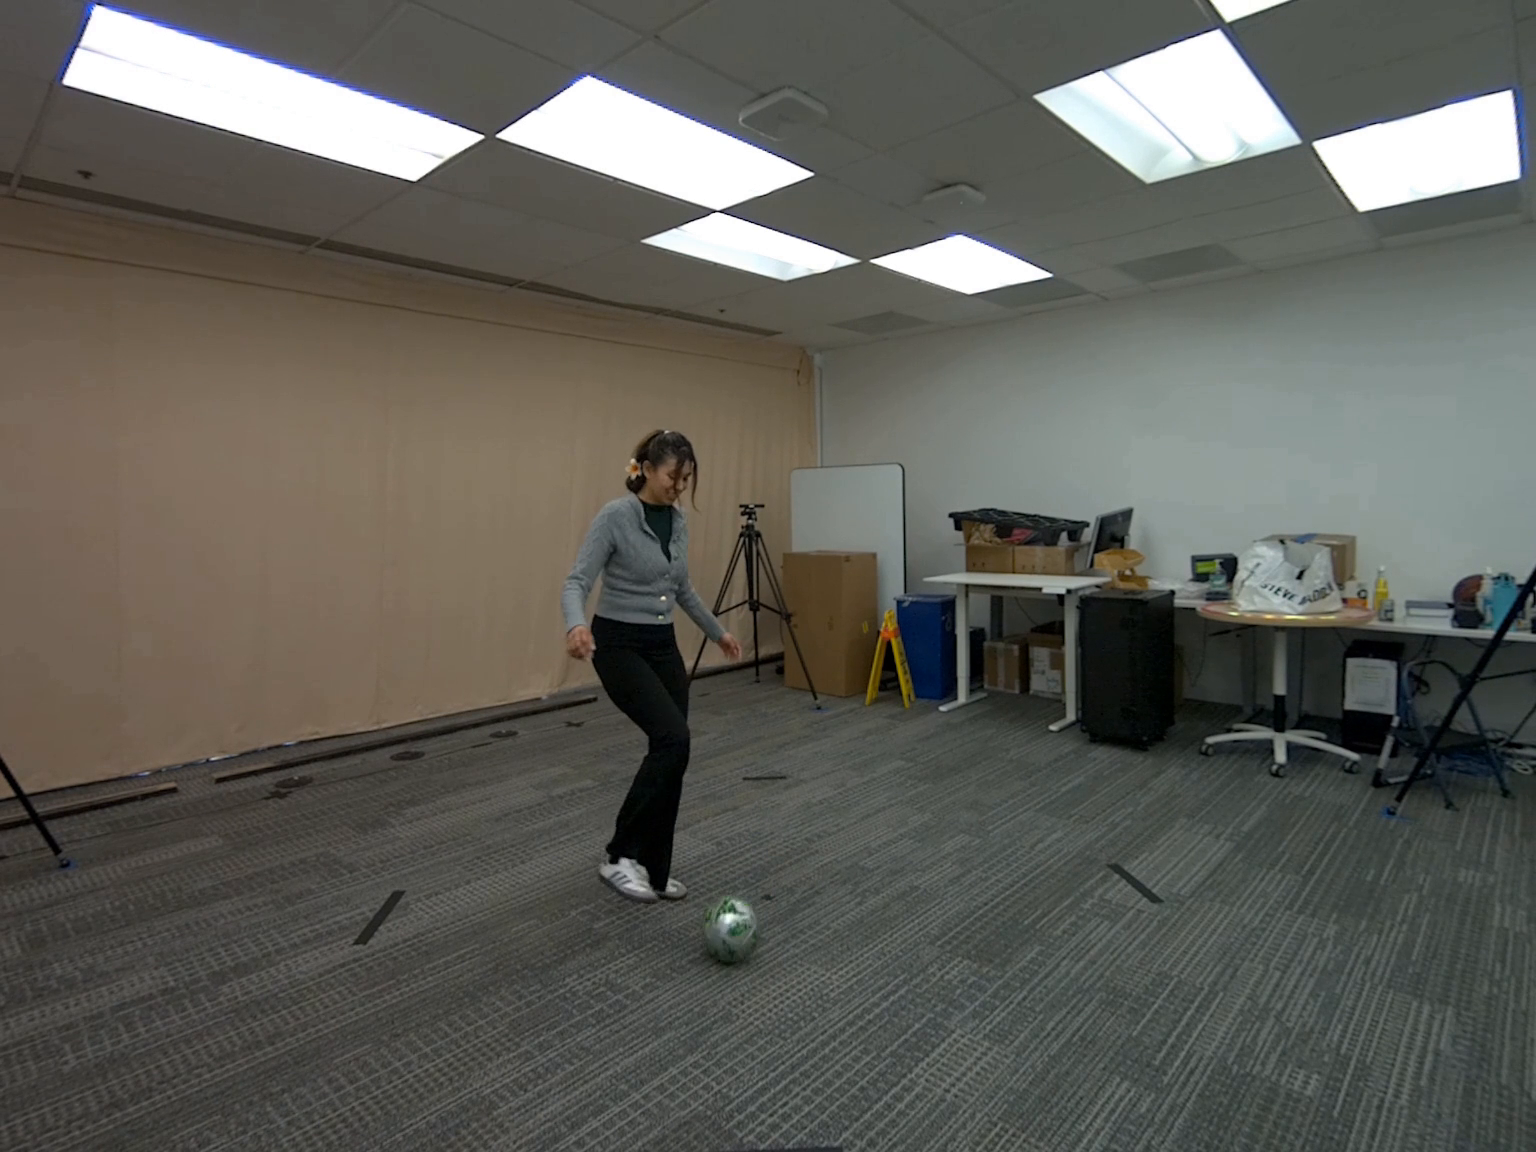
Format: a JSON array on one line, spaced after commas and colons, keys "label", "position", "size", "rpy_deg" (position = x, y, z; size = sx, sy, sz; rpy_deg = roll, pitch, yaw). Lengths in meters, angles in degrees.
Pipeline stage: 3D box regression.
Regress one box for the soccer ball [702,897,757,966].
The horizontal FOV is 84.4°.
[{"label": "soccer ball", "position": [-0.103, 1.080, 2.594], "size": [0.187, 0.187, 0.188], "rpy_deg": [-1, 4, -2]}]
